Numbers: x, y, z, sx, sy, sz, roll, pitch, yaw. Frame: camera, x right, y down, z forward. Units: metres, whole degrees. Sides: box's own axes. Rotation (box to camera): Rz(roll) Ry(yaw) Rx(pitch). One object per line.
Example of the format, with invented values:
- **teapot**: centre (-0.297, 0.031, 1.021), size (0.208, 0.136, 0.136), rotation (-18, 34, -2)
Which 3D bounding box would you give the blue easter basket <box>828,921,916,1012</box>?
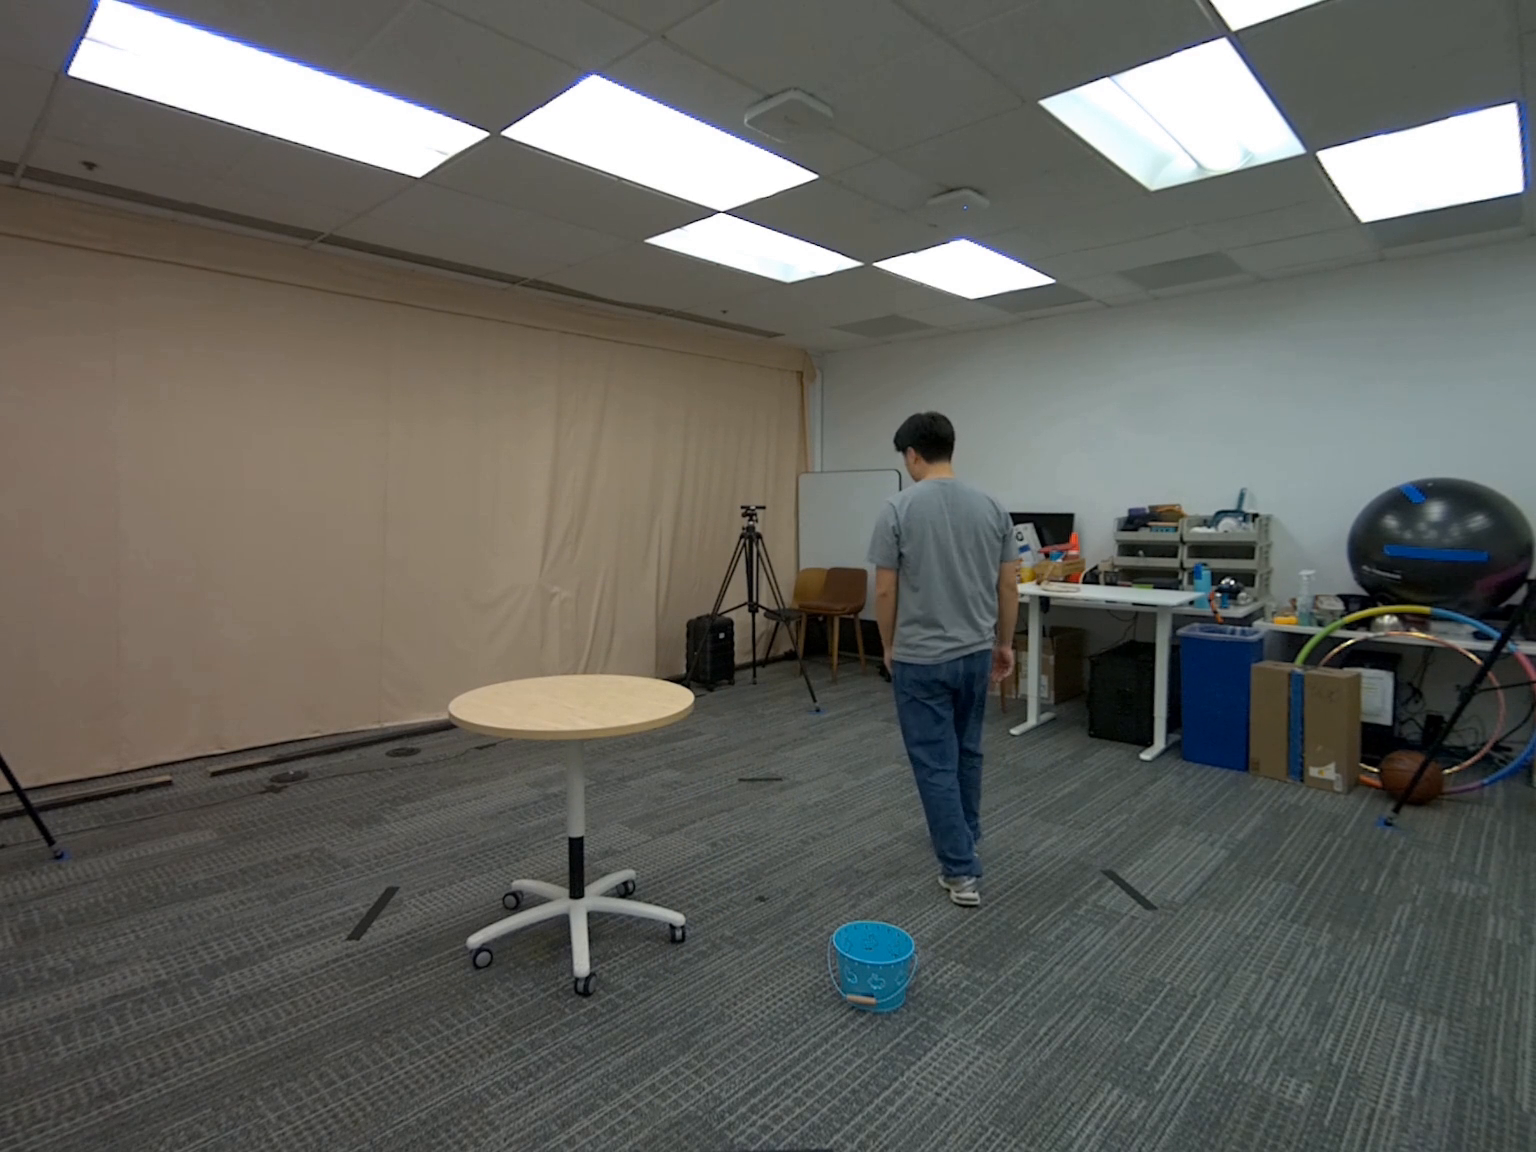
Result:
- **blue easter basket**: centre (0.299, 1.115, 2.393), size (0.243, 0.155, 0.244), rotation (1, 3, -2)
